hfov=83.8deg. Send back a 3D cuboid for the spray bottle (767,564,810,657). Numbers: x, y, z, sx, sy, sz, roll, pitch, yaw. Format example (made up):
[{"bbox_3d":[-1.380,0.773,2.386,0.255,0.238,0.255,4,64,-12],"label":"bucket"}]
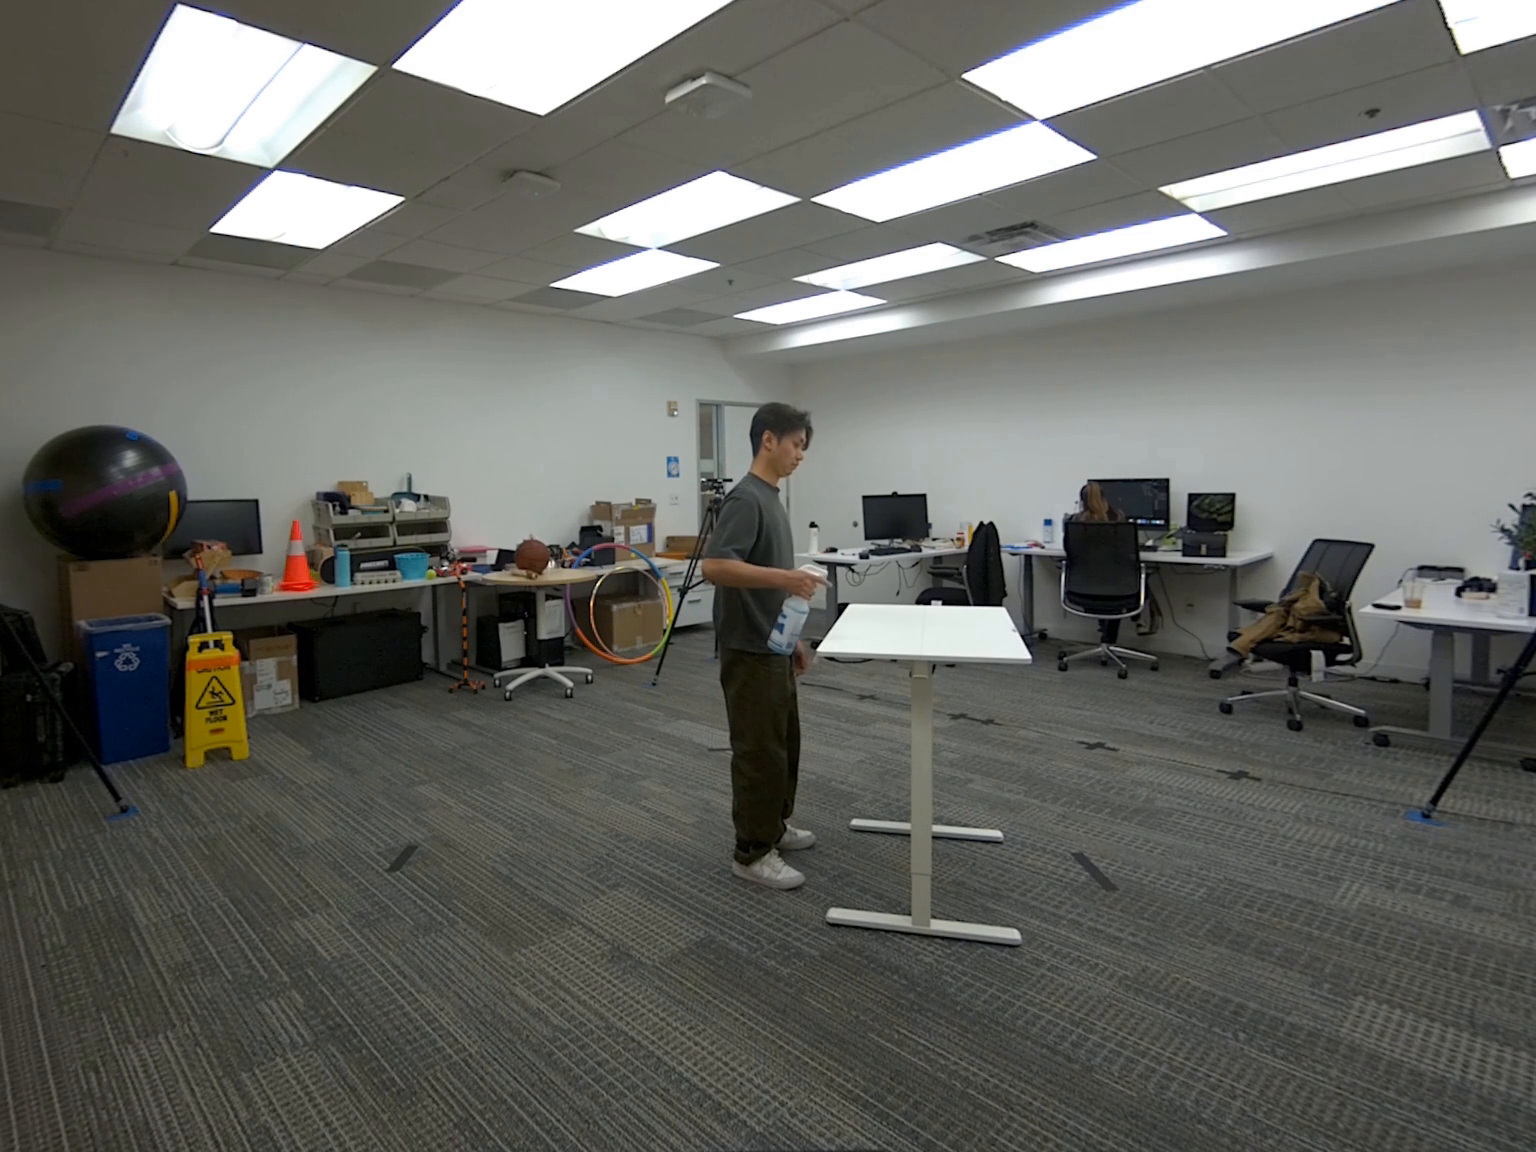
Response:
[{"bbox_3d":[0.090,0.108,2.735,0.093,0.296,0.084,27,8,28],"label":"spray bottle"}]
